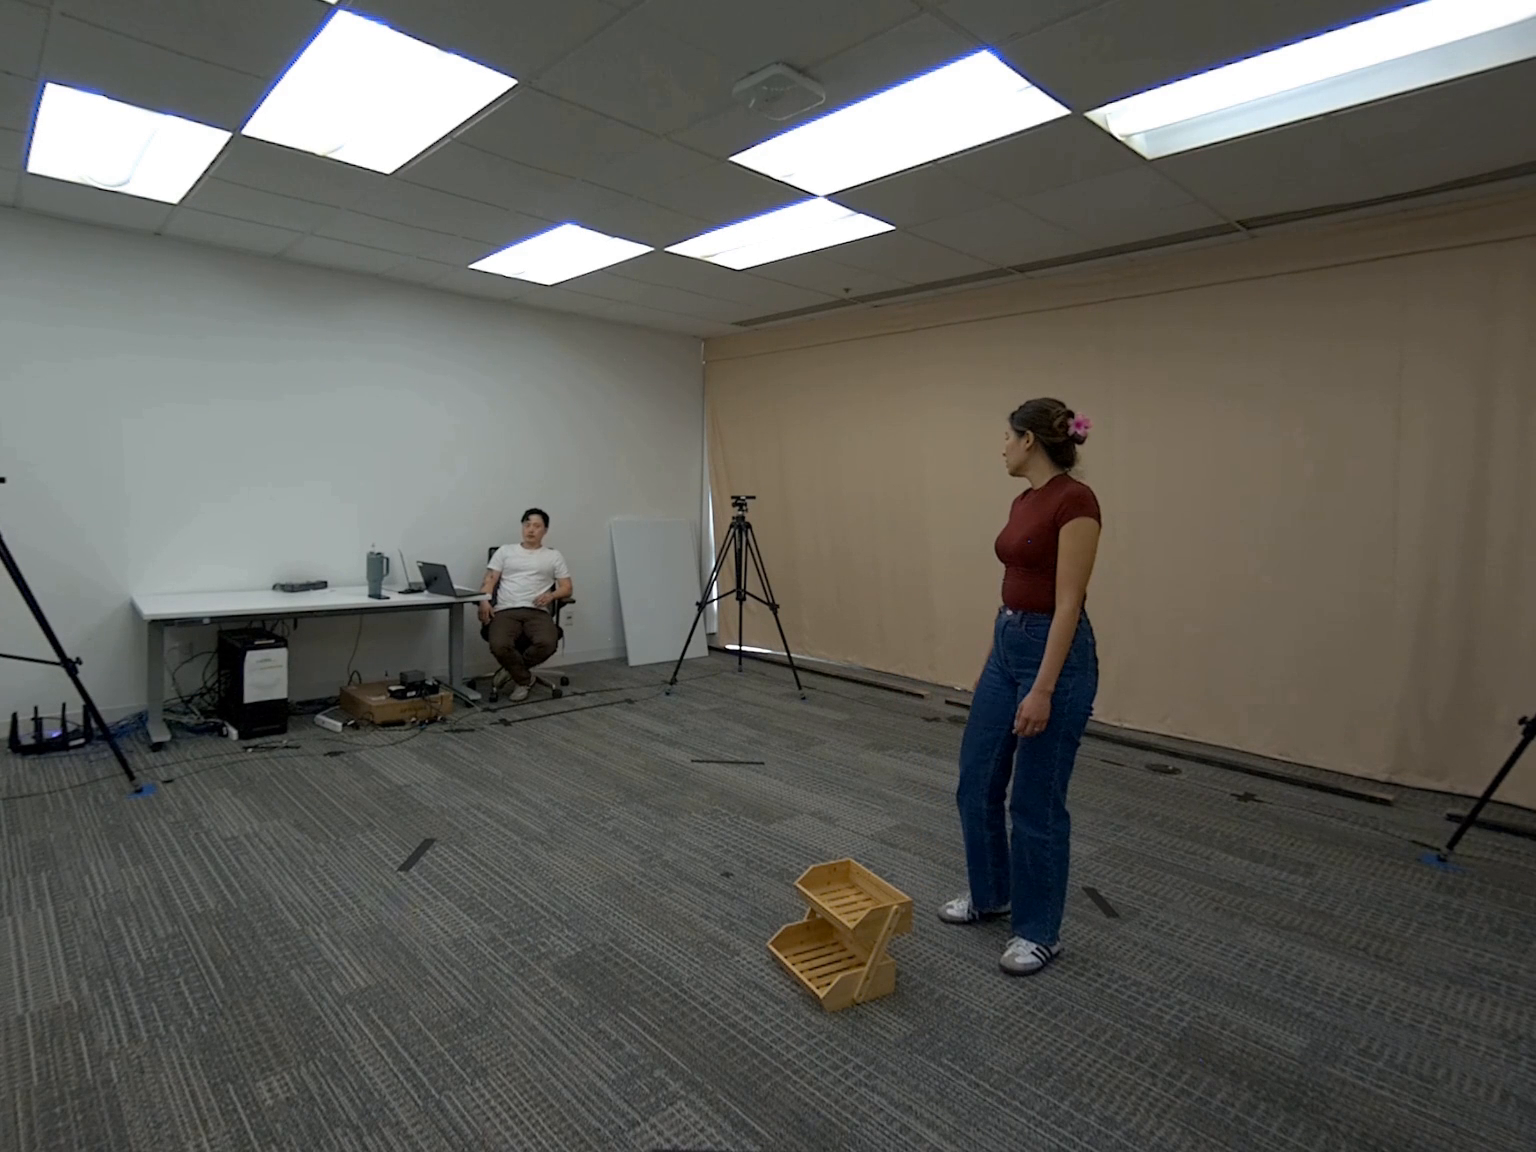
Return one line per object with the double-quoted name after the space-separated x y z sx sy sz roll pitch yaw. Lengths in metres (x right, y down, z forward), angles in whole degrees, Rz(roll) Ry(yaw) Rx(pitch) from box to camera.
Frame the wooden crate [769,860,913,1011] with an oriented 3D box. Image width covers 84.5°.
0.197 1.035 2.464 0.296 0.272 0.332 -1 5 -29 "wooden crate"
